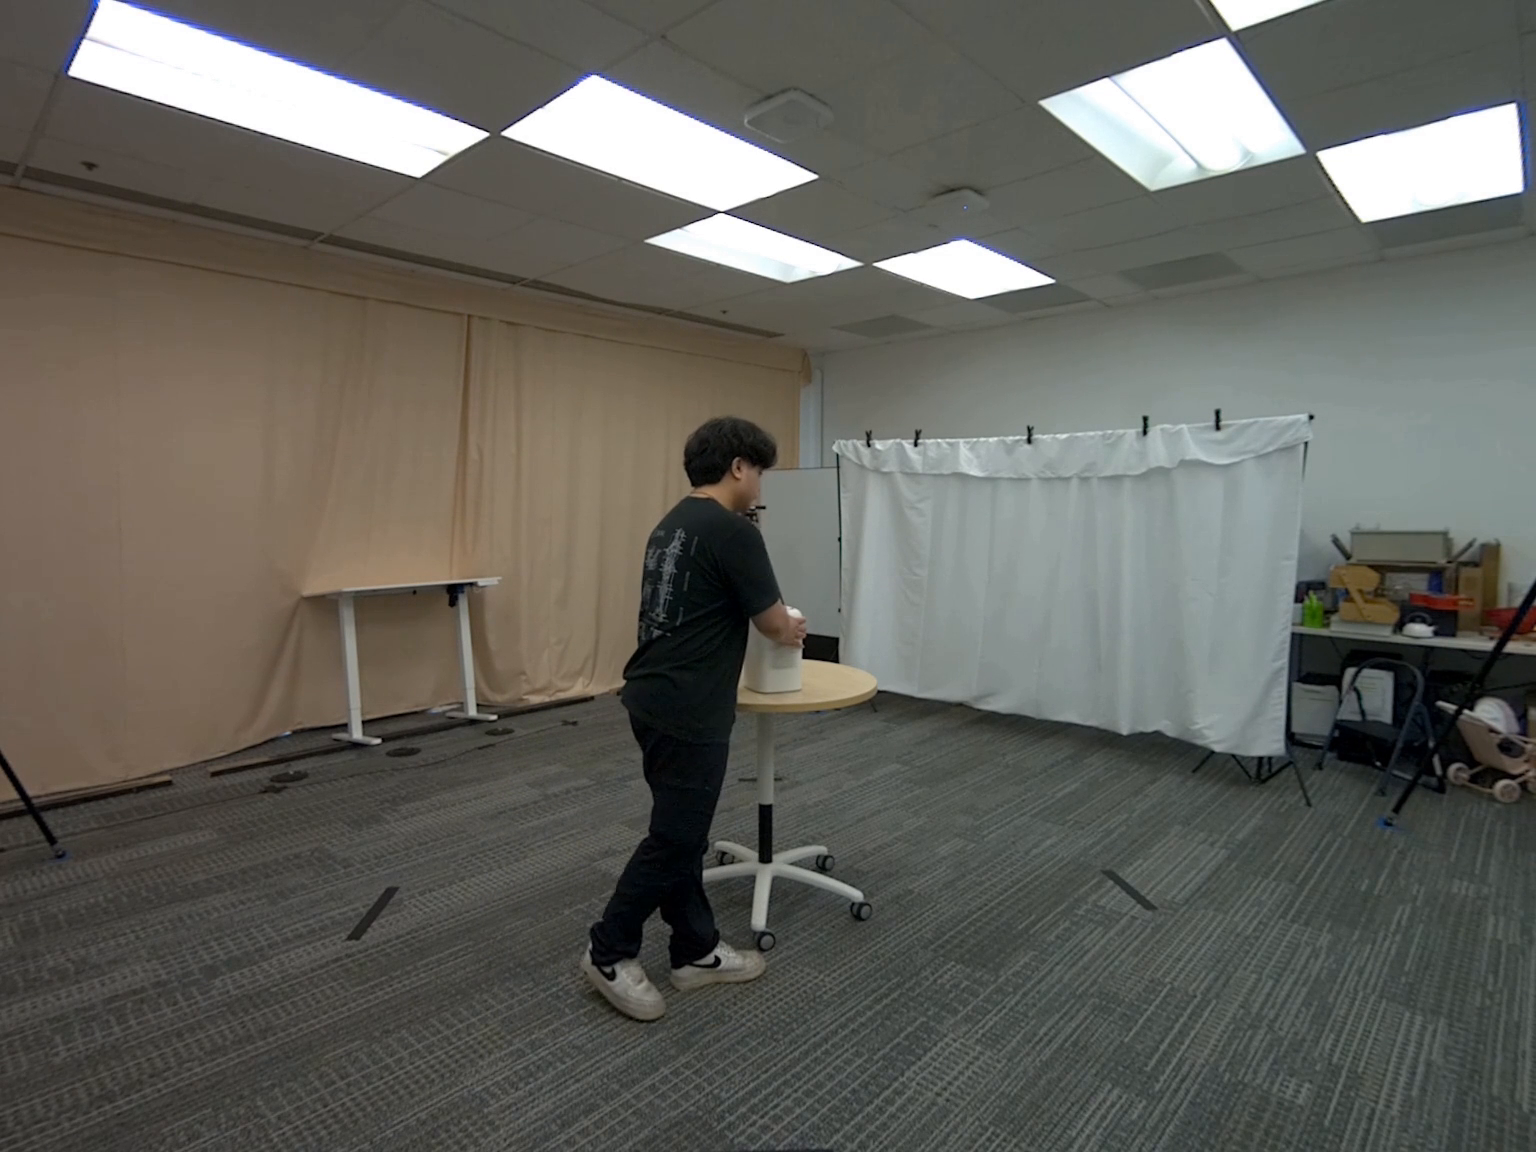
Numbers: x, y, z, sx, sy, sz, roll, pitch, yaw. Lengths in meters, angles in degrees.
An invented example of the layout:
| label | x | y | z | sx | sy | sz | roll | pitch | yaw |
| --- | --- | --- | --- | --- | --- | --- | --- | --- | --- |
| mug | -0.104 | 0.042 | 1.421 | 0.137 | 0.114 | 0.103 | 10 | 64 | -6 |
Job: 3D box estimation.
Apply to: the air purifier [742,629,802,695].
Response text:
| label | x | y | z | sx | sy | sz | roll | pitch | yaw |
| --- | --- | --- | --- | --- | --- | --- | --- | --- | --- |
| air purifier | 0.020 | 0.237 | 2.767 | 0.168 | 0.264 | 0.175 | -2 | 5 | -20 |
